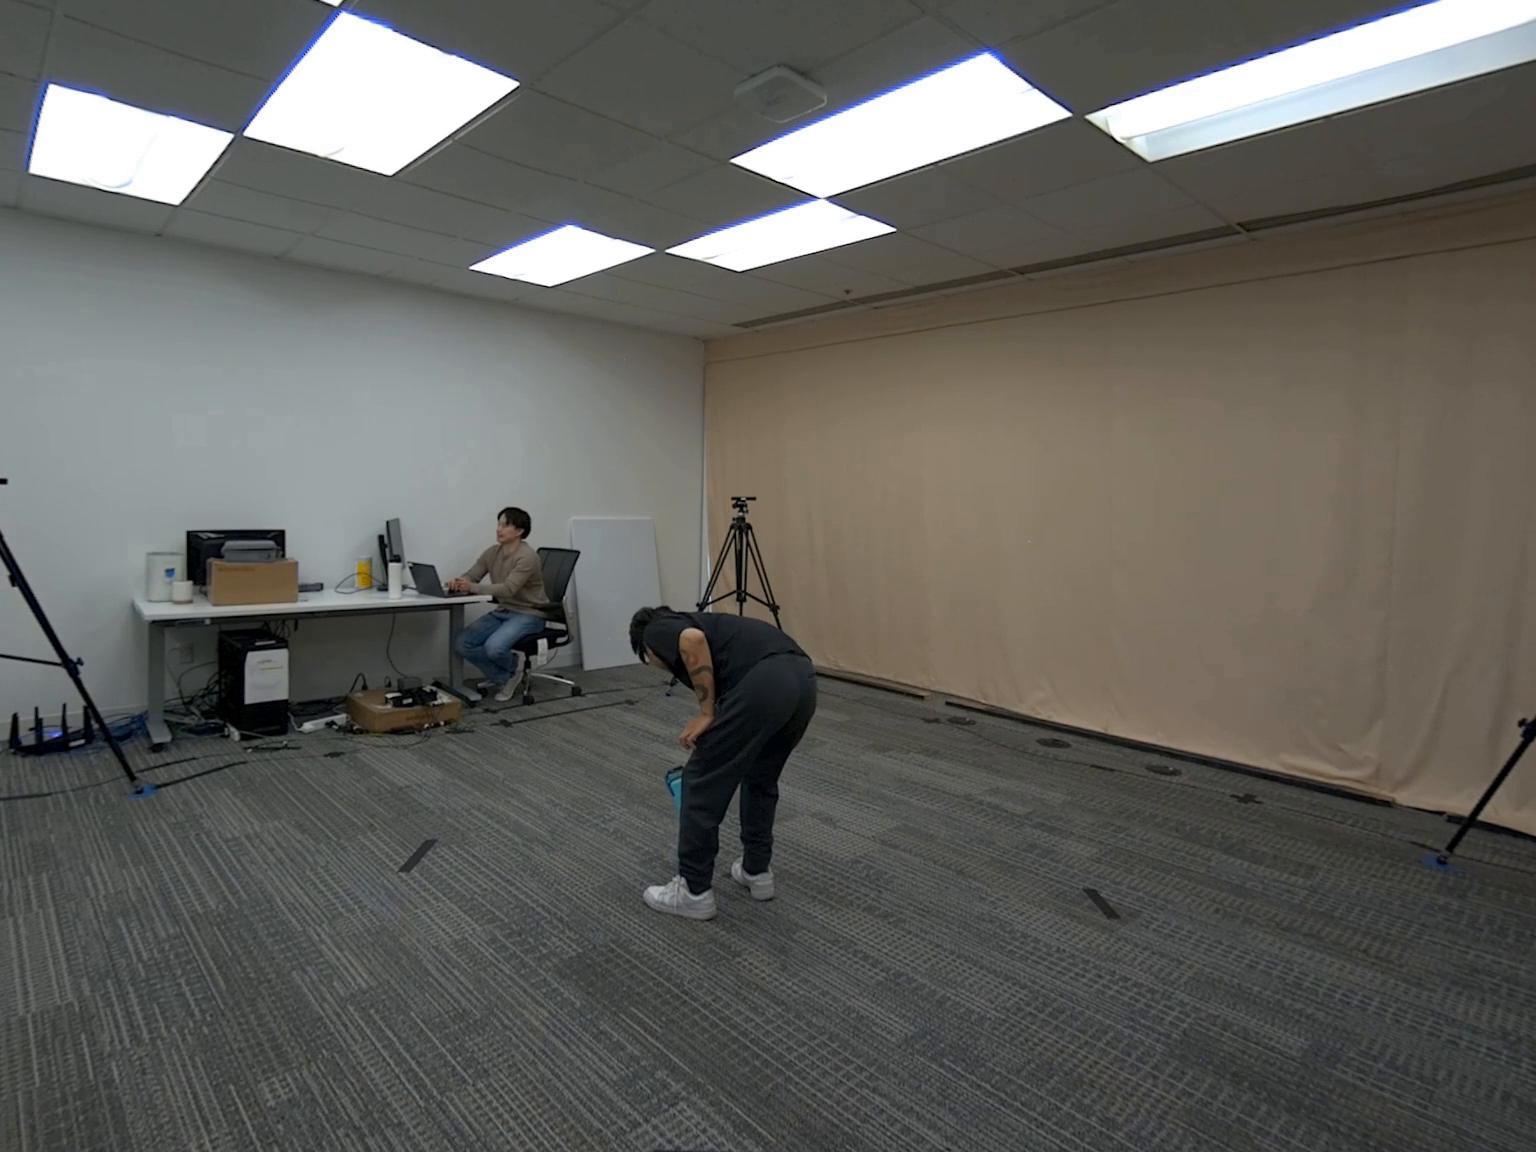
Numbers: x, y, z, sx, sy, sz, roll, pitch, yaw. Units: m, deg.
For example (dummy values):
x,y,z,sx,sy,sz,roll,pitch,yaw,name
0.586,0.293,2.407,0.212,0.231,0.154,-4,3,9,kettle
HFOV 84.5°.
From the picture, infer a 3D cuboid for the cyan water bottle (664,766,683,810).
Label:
x,y,z,sx,sy,sz,roll,pitch,yaw,name
-0.320,0.856,3.196,0.092,0.287,0.091,-23,-14,-7,cyan water bottle
